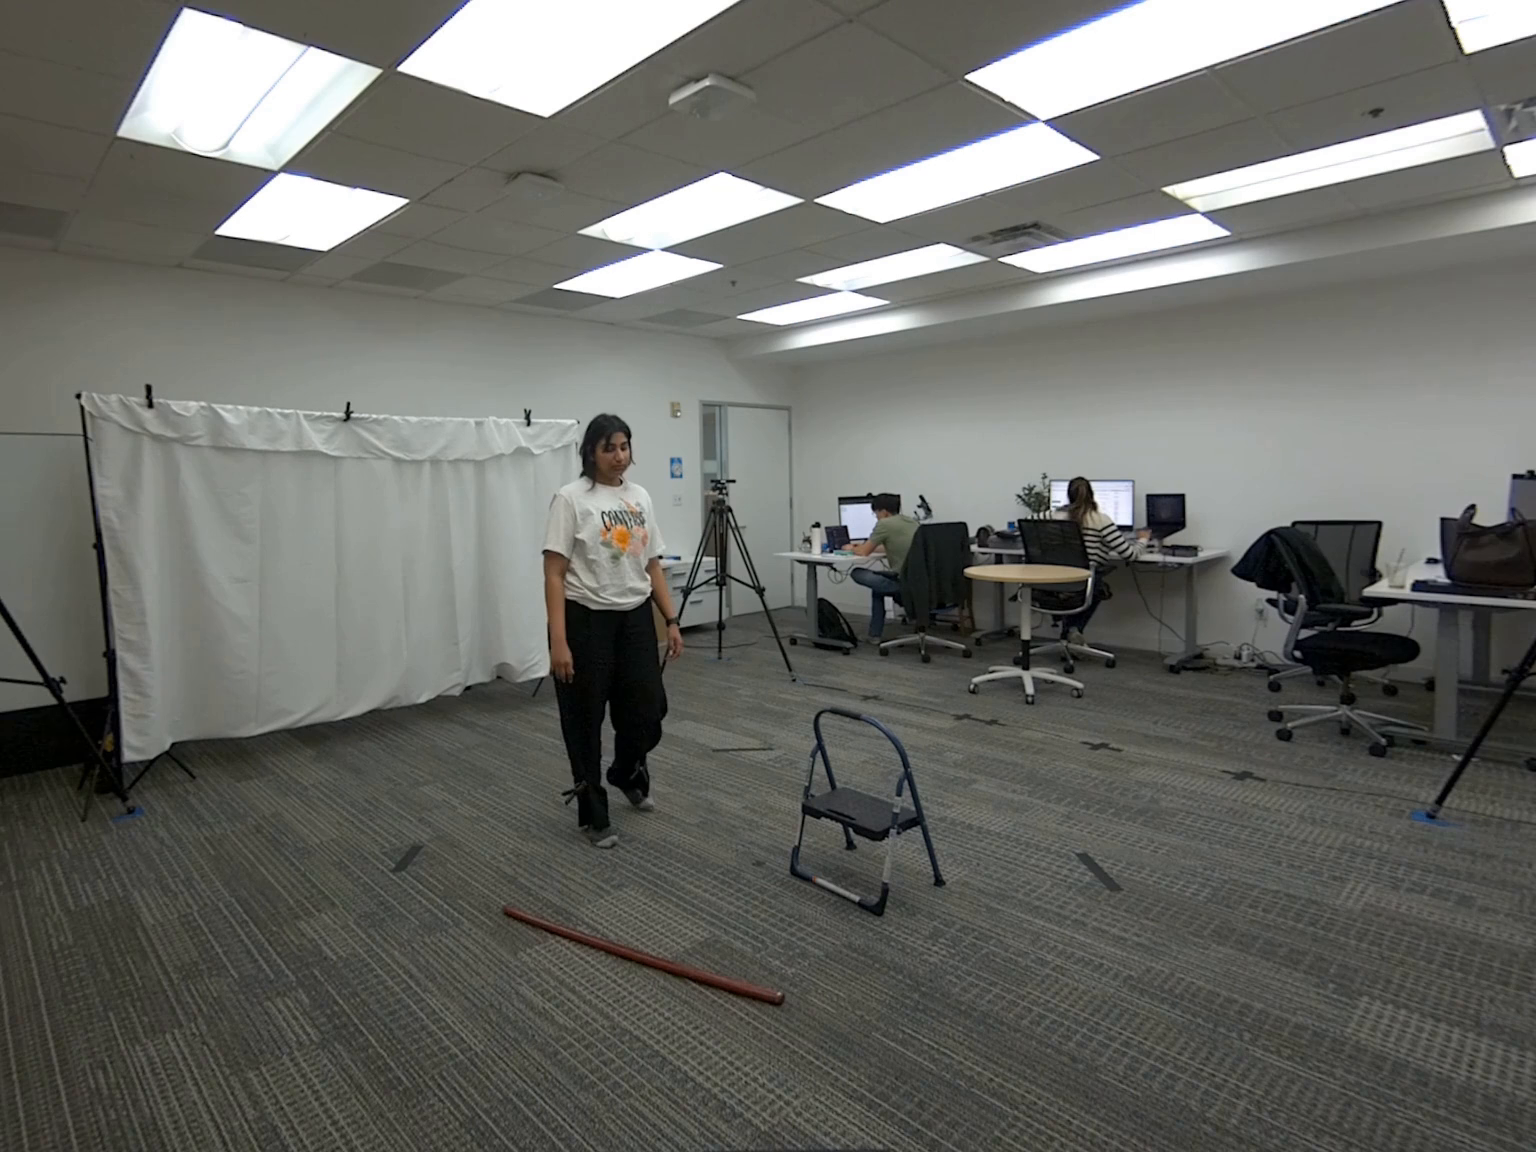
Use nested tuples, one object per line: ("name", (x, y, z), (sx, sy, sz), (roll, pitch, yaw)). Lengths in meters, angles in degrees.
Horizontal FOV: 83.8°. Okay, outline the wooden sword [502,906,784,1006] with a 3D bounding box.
("wooden sword", (-0.399, 1.098, 2.532), (1.052, 0.024, 0.049), (3, -12, 31))
